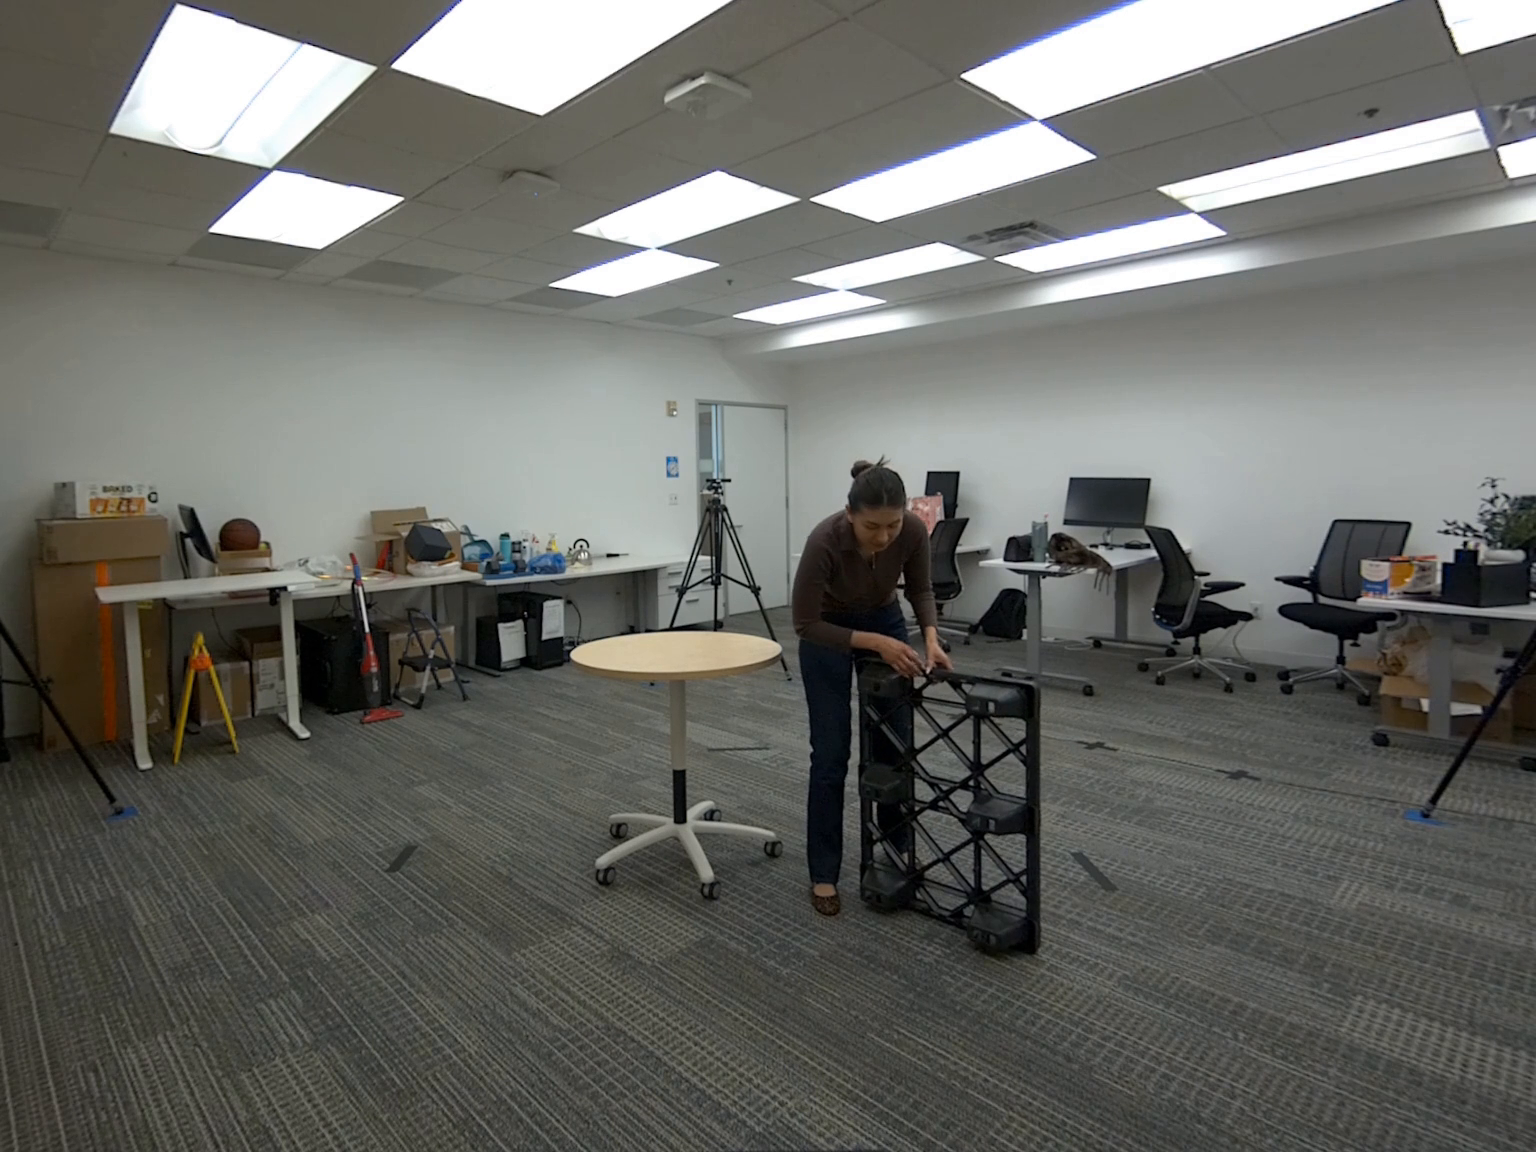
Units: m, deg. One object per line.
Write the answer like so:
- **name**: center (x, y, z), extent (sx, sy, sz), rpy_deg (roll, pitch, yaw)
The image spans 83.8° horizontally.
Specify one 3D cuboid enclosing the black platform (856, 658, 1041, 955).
- **black platform**: center (0.528, 0.691, 2.618), extent (0.623, 0.802, 0.139), rpy_deg (3, 6, 40)
